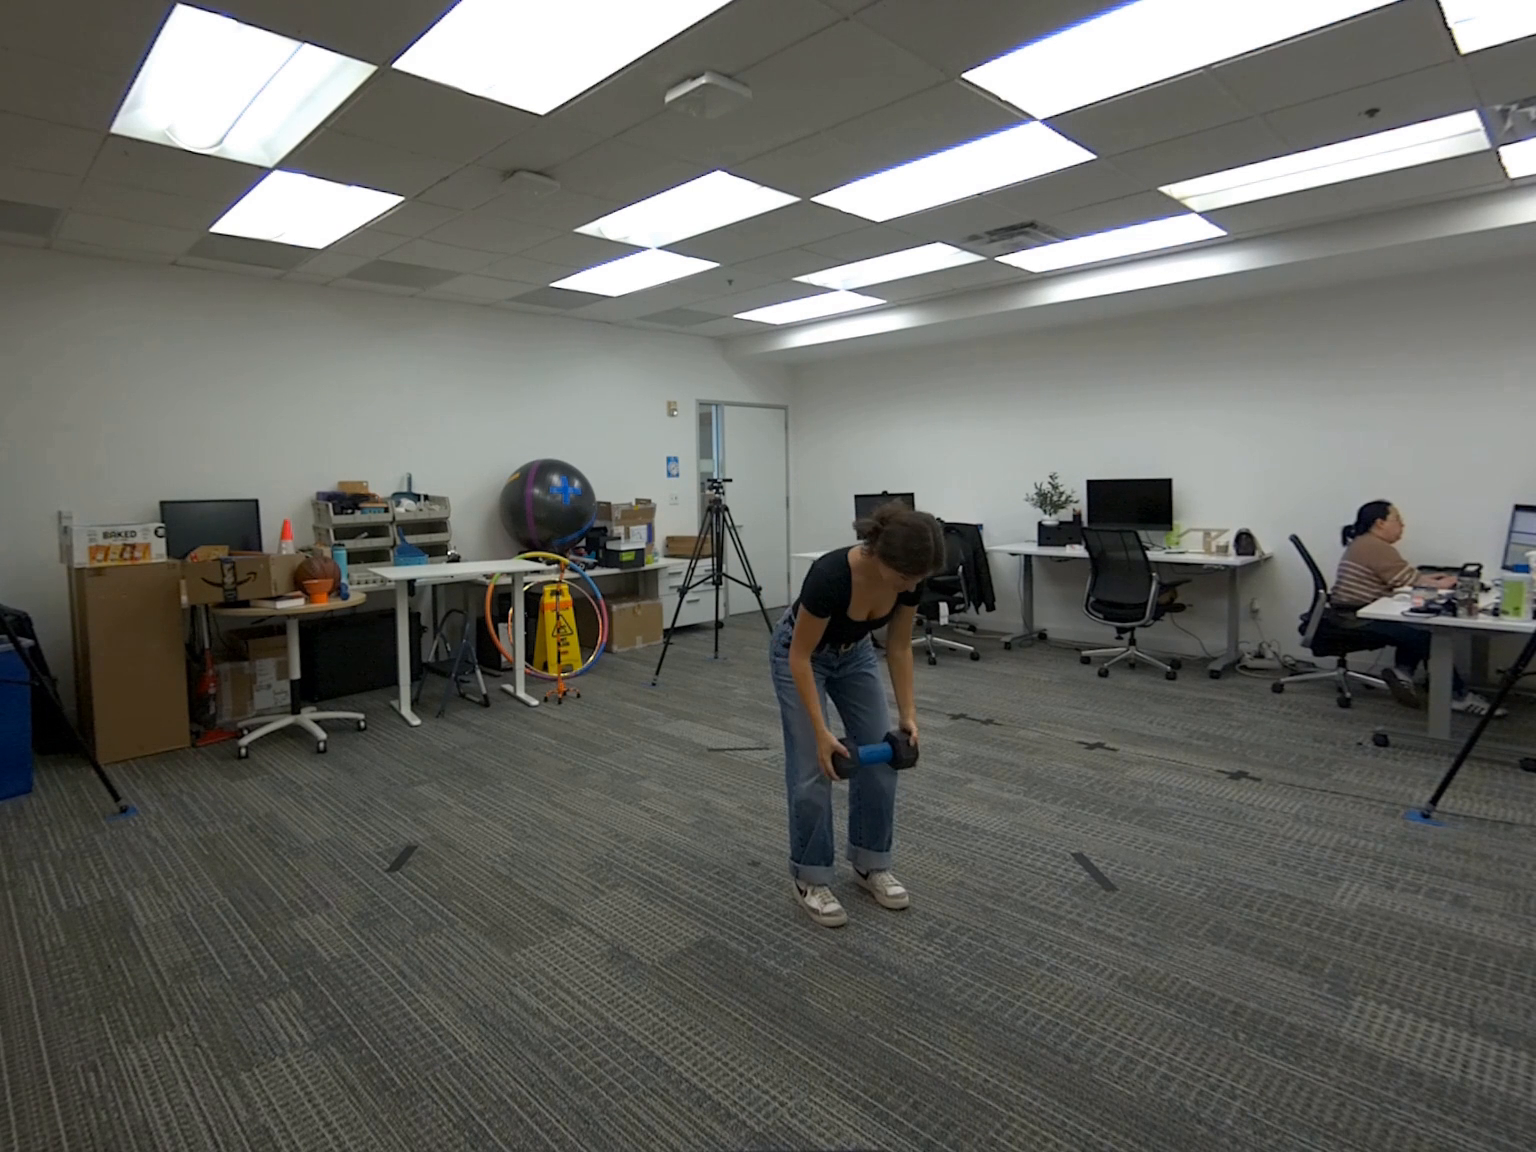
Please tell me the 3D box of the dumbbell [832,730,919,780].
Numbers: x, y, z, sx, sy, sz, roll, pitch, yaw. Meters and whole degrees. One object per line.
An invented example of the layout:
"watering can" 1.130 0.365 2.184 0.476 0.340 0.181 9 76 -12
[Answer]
"dumbbell" 0.319 0.554 2.650 0.288 0.121 0.113 -5 46 -23
